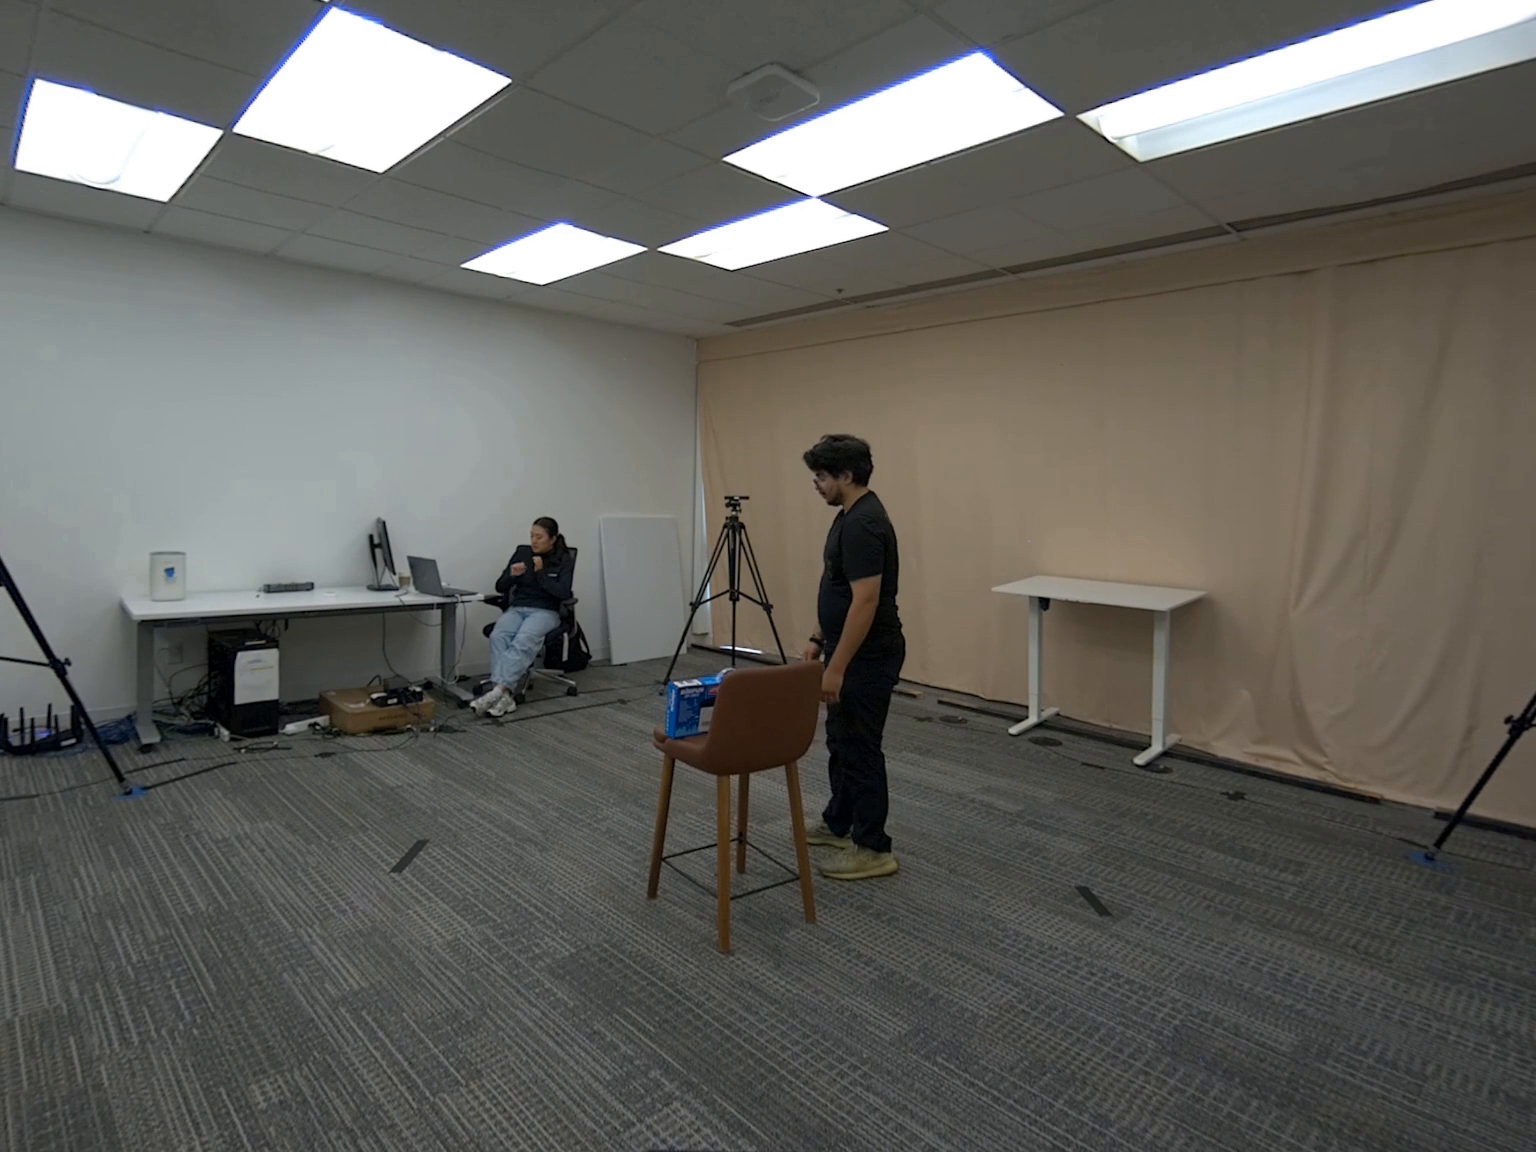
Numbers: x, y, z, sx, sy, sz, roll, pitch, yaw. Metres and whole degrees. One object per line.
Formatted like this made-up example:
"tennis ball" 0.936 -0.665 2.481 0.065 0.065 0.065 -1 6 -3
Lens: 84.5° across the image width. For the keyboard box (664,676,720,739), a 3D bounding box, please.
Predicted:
"keyboard box" -0.145 0.430 2.826 0.427 0.175 0.061 -2 11 -36
